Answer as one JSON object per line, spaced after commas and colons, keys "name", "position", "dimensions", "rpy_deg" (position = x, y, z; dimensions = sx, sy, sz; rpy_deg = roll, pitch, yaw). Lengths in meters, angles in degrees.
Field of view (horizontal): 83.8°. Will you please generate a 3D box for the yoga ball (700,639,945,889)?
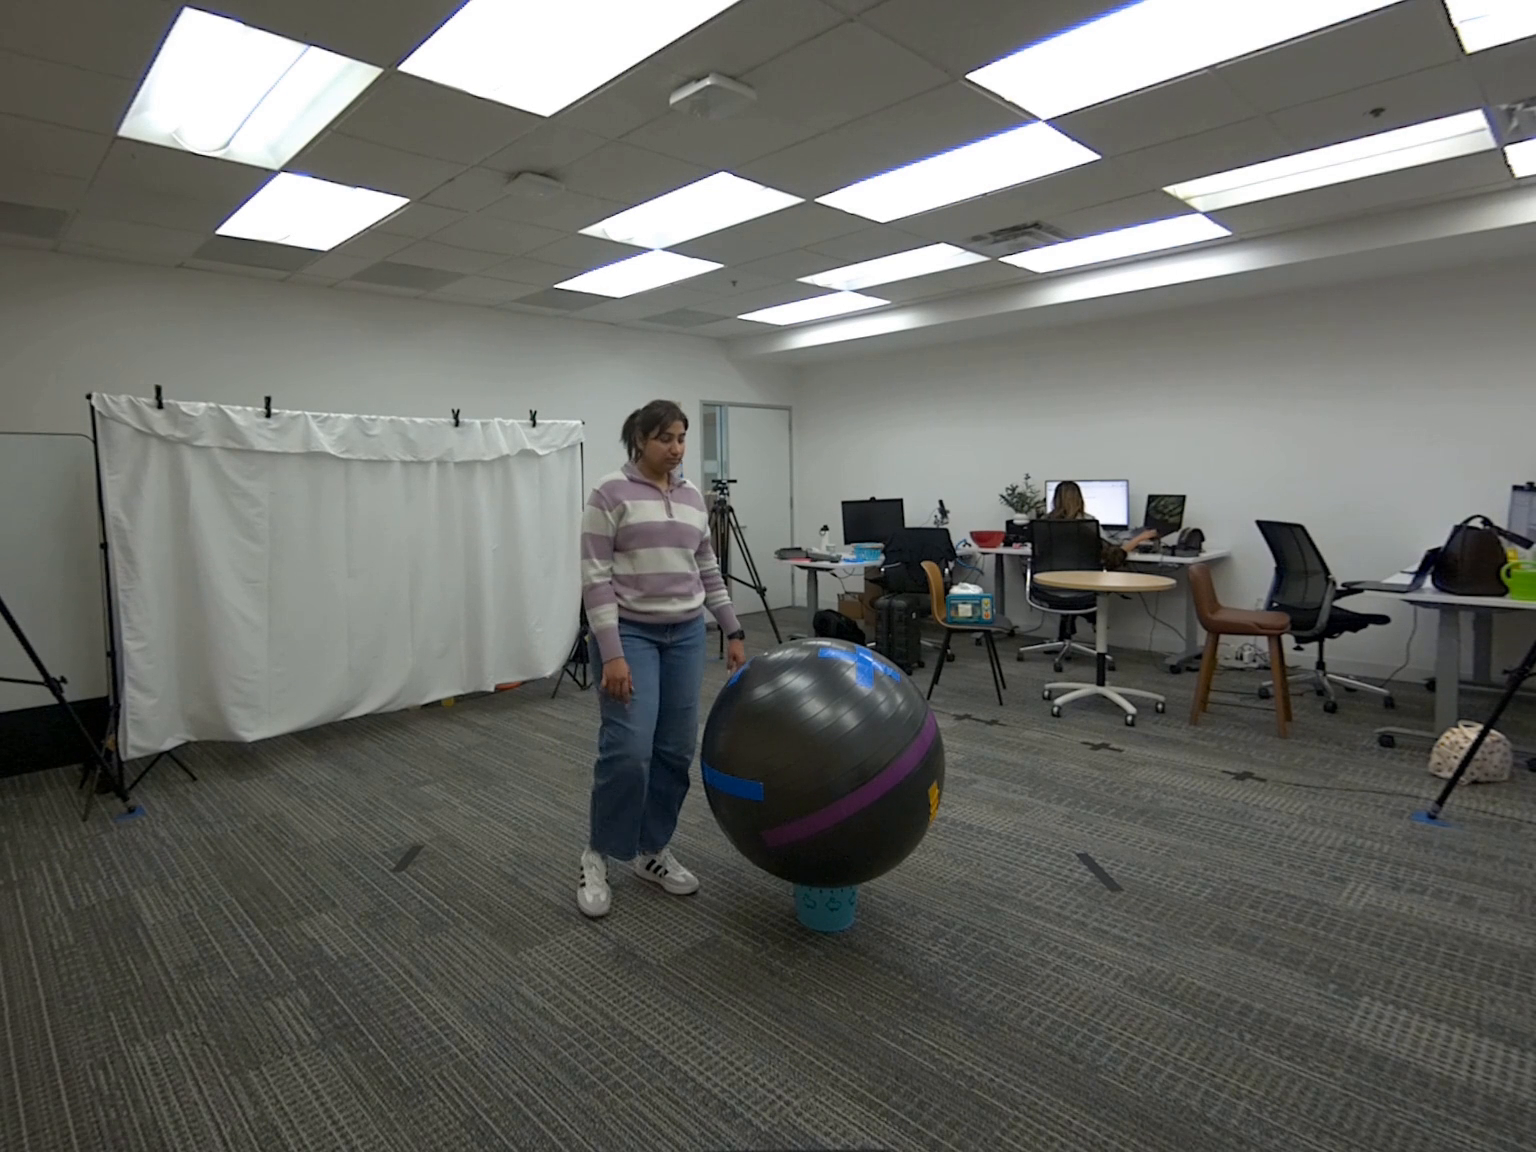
{"name": "yoga ball", "position": [0.173, 0.585, 2.676], "dimensions": [0.757, 0.755, 0.762], "rpy_deg": [-1, 5, -2]}
